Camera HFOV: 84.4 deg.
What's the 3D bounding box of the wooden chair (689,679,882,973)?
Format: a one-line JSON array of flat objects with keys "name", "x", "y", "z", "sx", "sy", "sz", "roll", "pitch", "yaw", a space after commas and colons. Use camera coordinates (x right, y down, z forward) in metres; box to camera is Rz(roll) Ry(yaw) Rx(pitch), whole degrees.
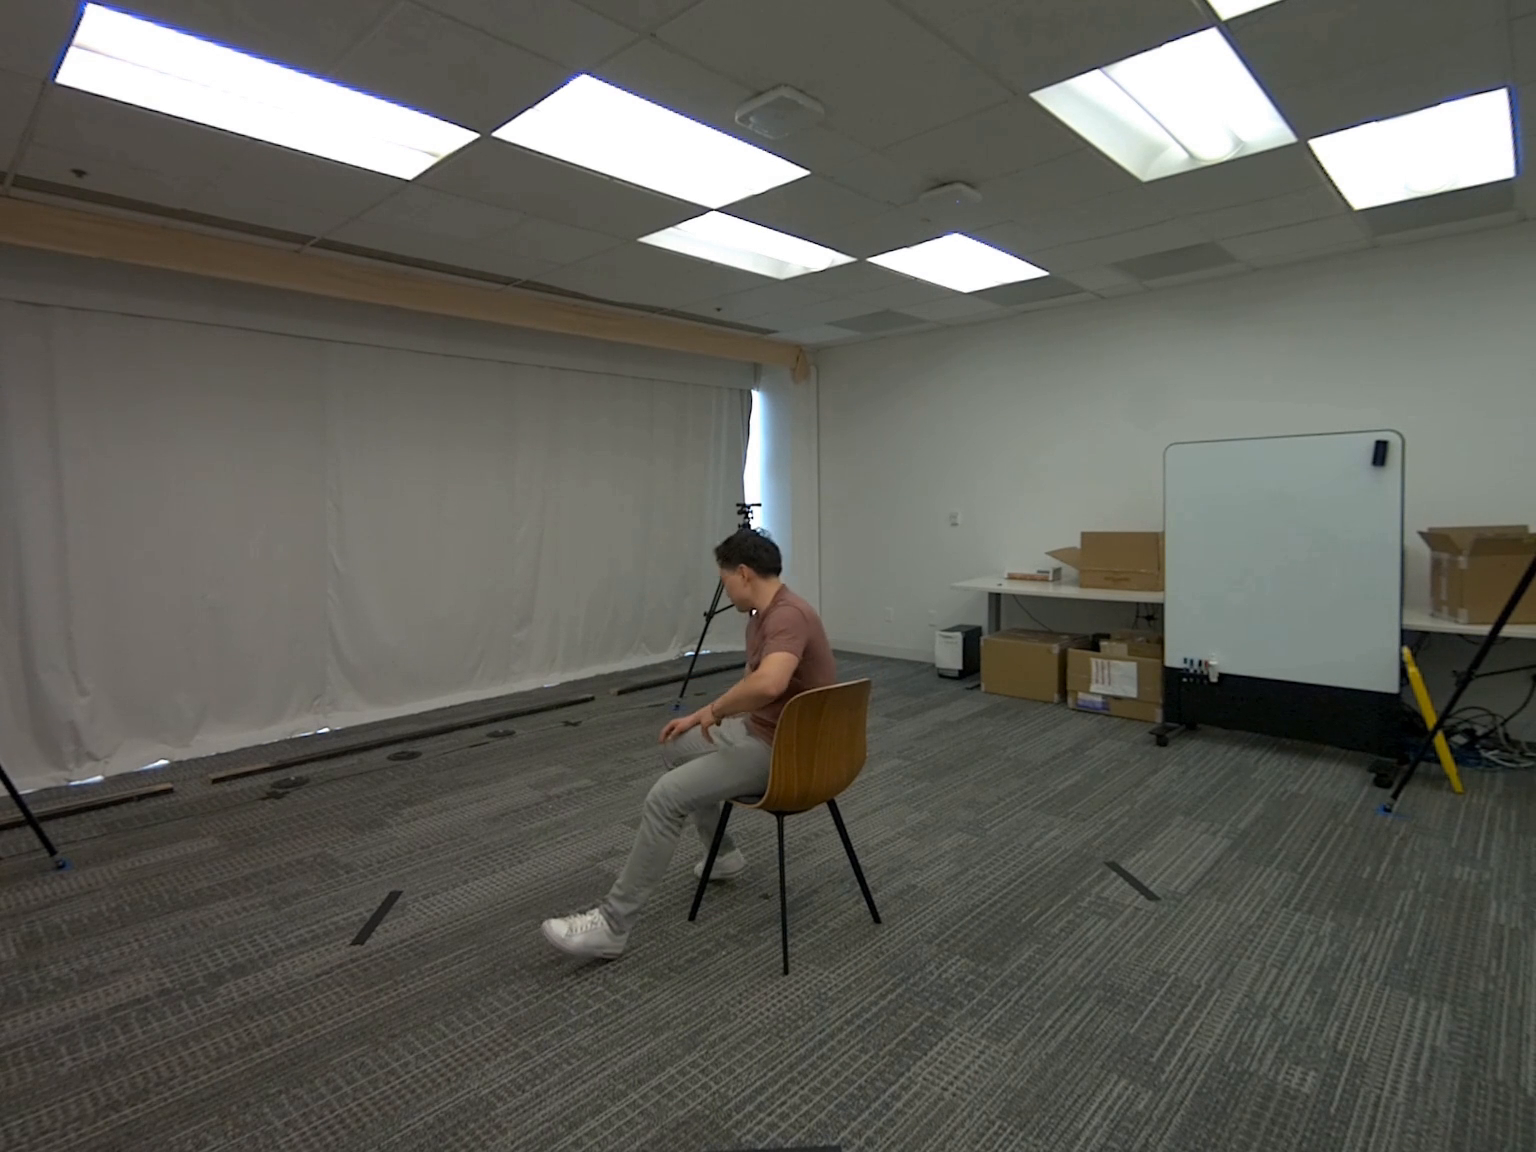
[{"name": "wooden chair", "x": 0.049, "y": 0.724, "z": 2.774, "sx": 0.463, "sy": 0.874, "sz": 0.541, "roll": -4, "pitch": 9, "yaw": -43}]
